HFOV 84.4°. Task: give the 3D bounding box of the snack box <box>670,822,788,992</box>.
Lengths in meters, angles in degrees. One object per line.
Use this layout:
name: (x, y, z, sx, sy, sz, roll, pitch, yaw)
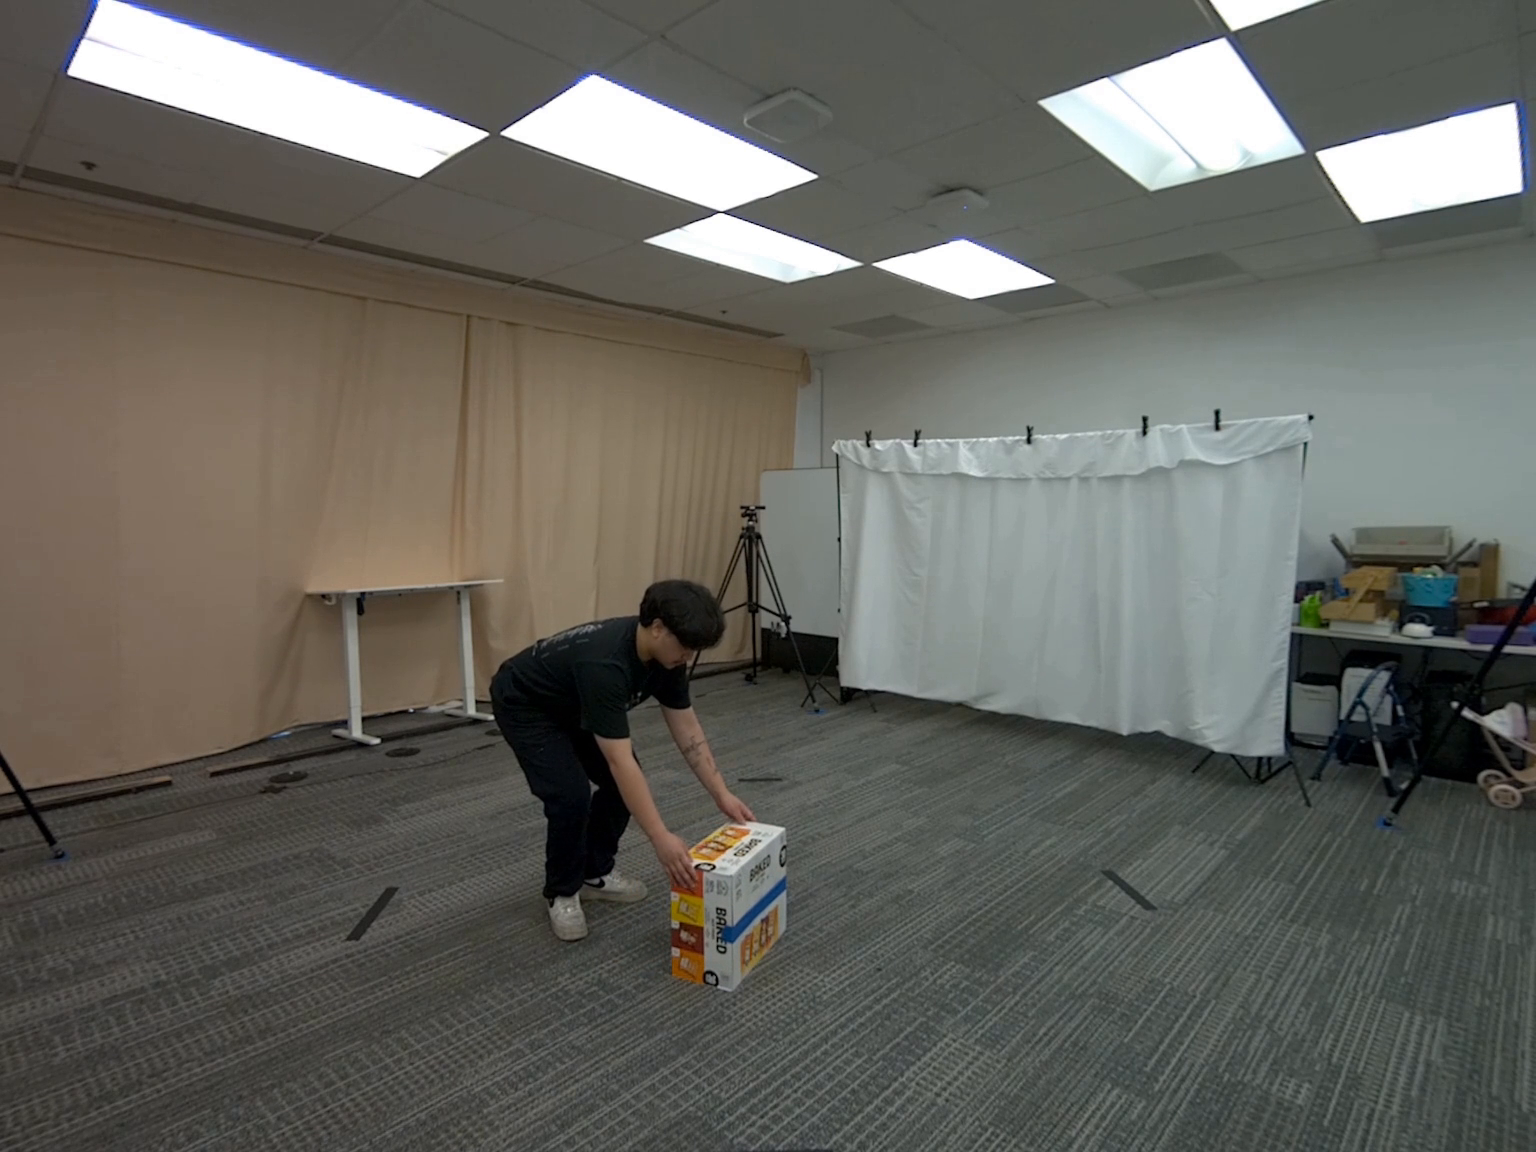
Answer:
snack box: (-0.110, 1.006, 2.621, 0.211, 0.340, 0.395, 1, 3, 25)
